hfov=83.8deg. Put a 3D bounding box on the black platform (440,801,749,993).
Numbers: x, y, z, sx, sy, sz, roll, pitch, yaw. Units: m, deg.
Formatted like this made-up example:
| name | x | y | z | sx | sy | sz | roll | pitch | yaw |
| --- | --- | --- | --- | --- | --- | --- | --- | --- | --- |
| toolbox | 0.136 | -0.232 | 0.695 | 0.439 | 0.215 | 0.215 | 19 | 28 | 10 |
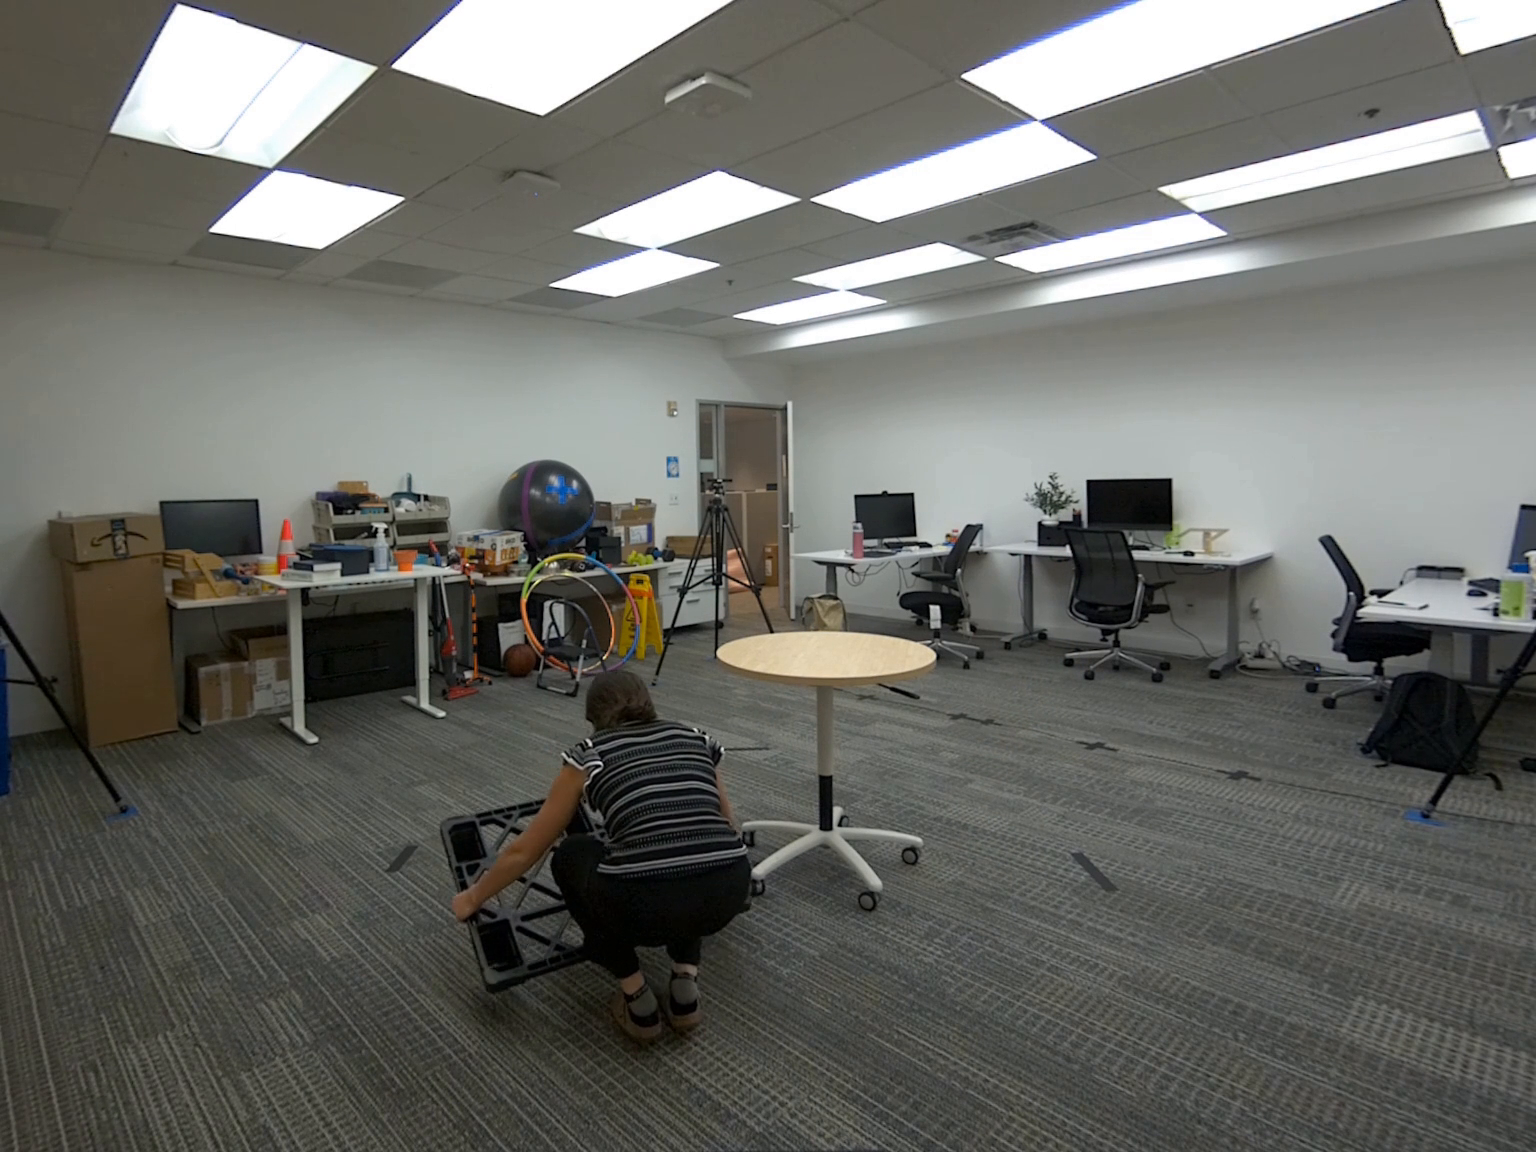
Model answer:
| name | x | y | z | sx | sy | sz | roll | pitch | yaw |
| --- | --- | --- | --- | --- | --- | --- | --- | --- | --- |
| black platform | -0.543 | 0.913 | 2.610 | 0.787 | 0.141 | 0.629 | -5 | 29 | -29 |
